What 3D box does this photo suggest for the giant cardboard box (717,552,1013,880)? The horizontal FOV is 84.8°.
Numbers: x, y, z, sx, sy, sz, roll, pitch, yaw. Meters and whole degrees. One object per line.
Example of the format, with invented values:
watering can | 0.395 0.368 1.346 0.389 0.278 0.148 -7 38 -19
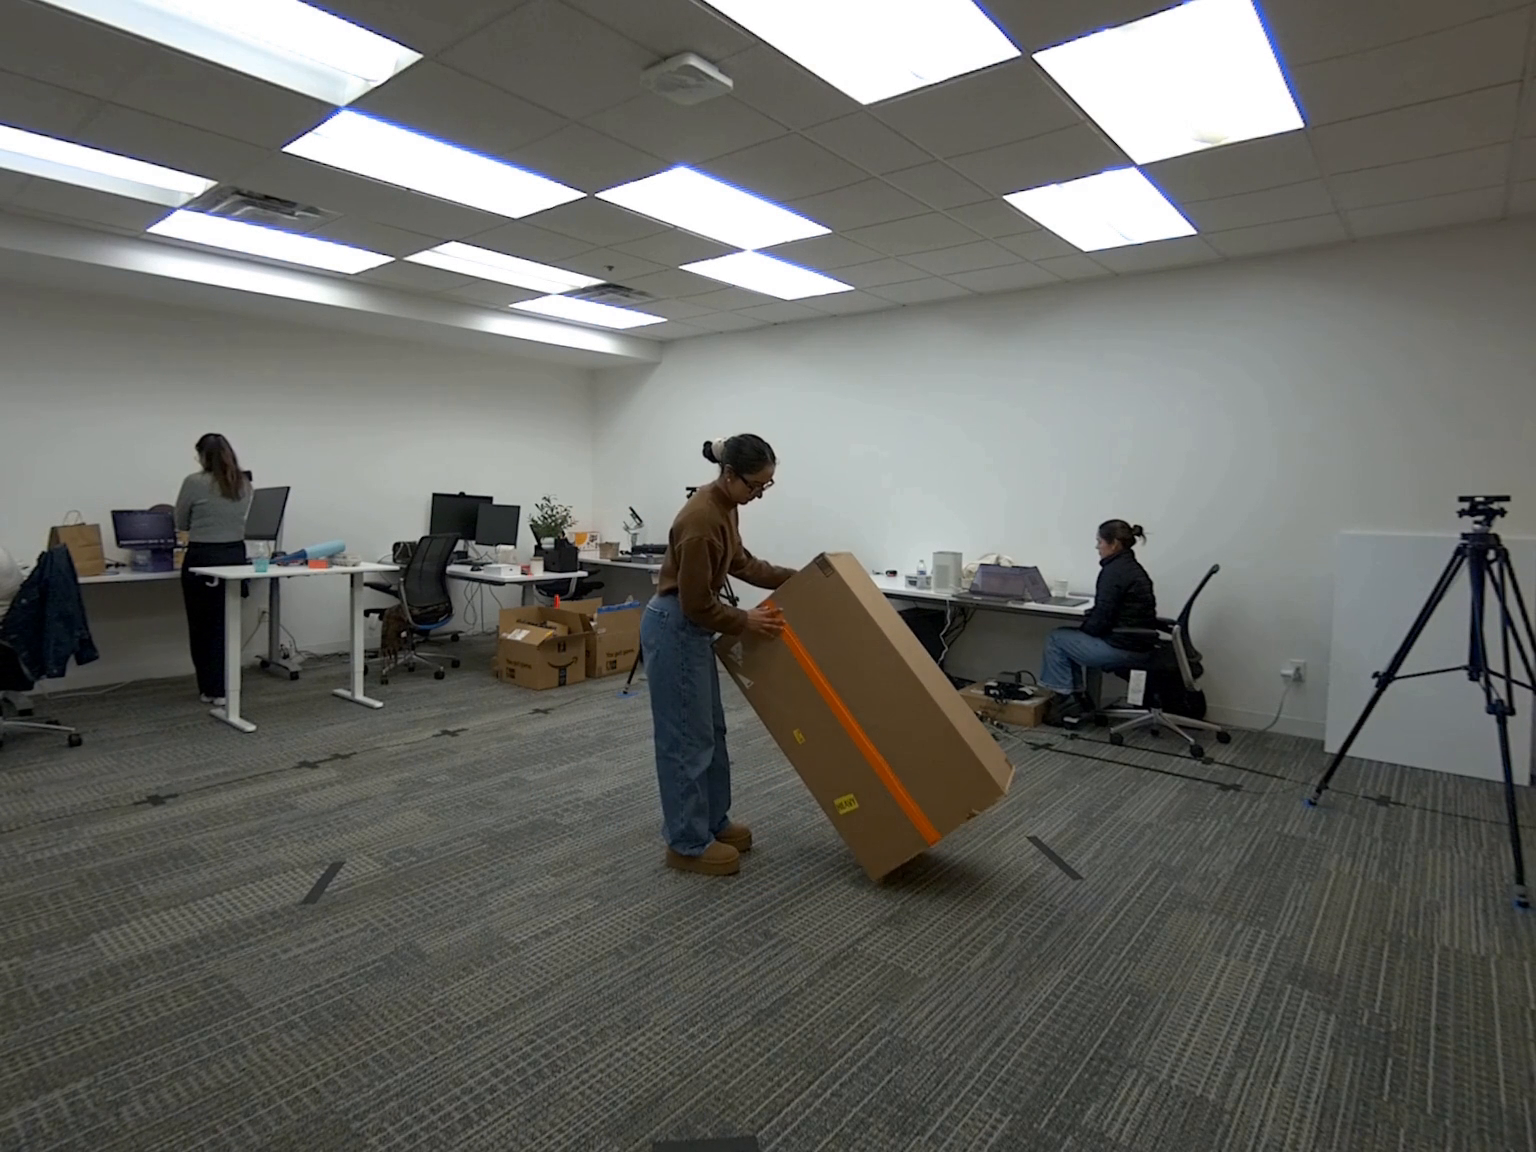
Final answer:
giant cardboard box | 0.345 0.492 3.209 0.579 1.047 0.416 -41 -15 18
